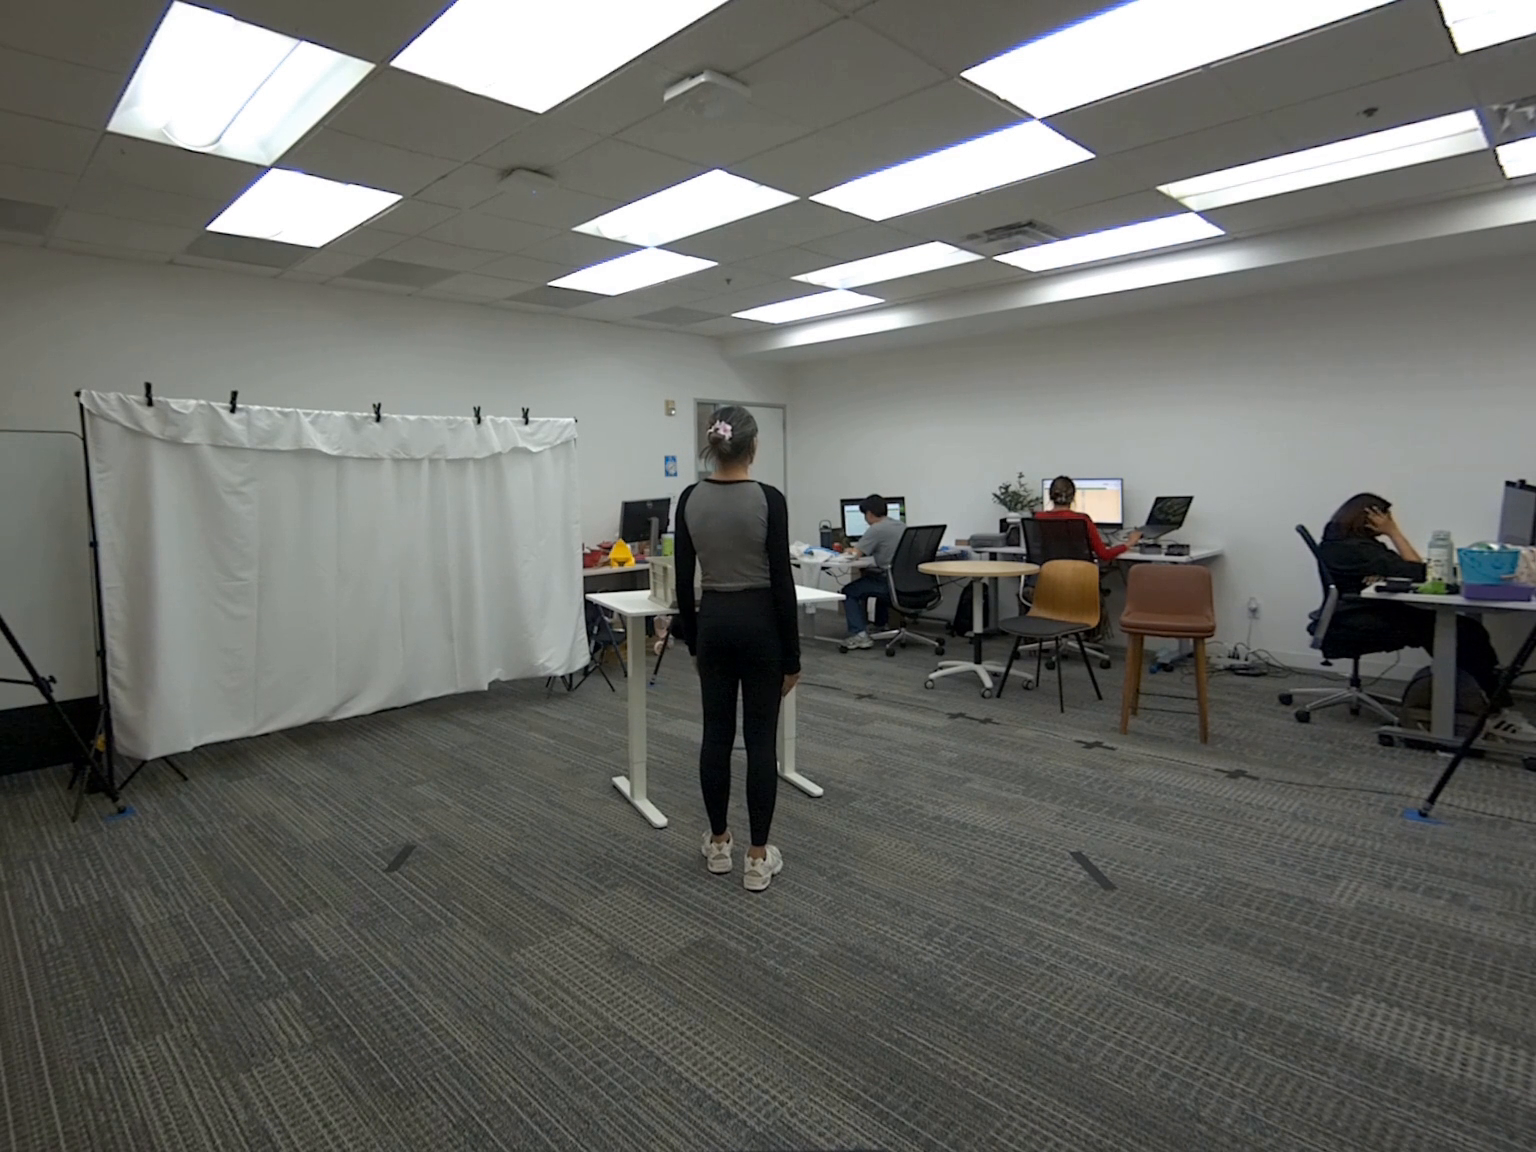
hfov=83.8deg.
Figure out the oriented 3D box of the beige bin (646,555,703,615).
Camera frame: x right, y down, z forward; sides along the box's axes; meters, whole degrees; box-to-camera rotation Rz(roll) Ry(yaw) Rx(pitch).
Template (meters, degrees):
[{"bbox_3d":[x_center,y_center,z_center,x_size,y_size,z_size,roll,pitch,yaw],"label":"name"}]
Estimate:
[{"bbox_3d":[-0.263,0.019,3.594,0.414,0.188,0.386,-4,6,-22],"label":"beige bin"}]
